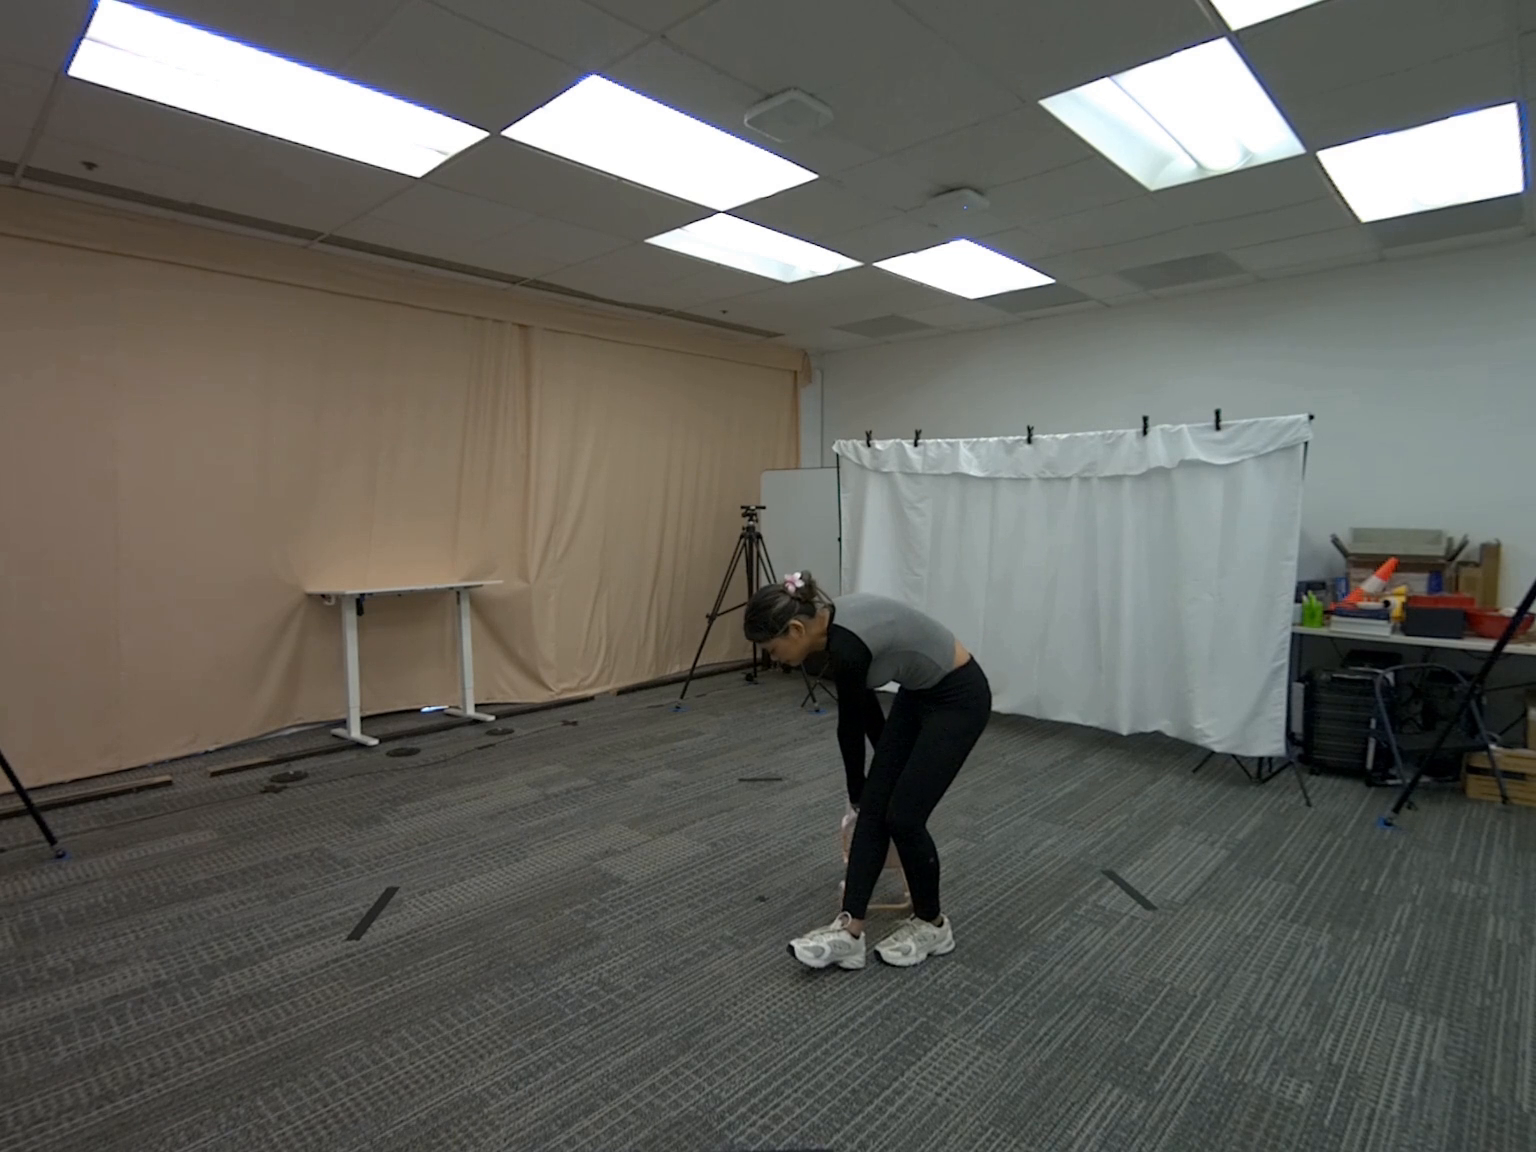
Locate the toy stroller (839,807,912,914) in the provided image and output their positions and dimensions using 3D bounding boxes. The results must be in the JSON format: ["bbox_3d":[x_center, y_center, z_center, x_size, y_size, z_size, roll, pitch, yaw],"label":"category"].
[{"bbox_3d":[0.388,0.922,2.927,0.282,0.528,0.345,-1,20,1],"label":"toy stroller"}]
